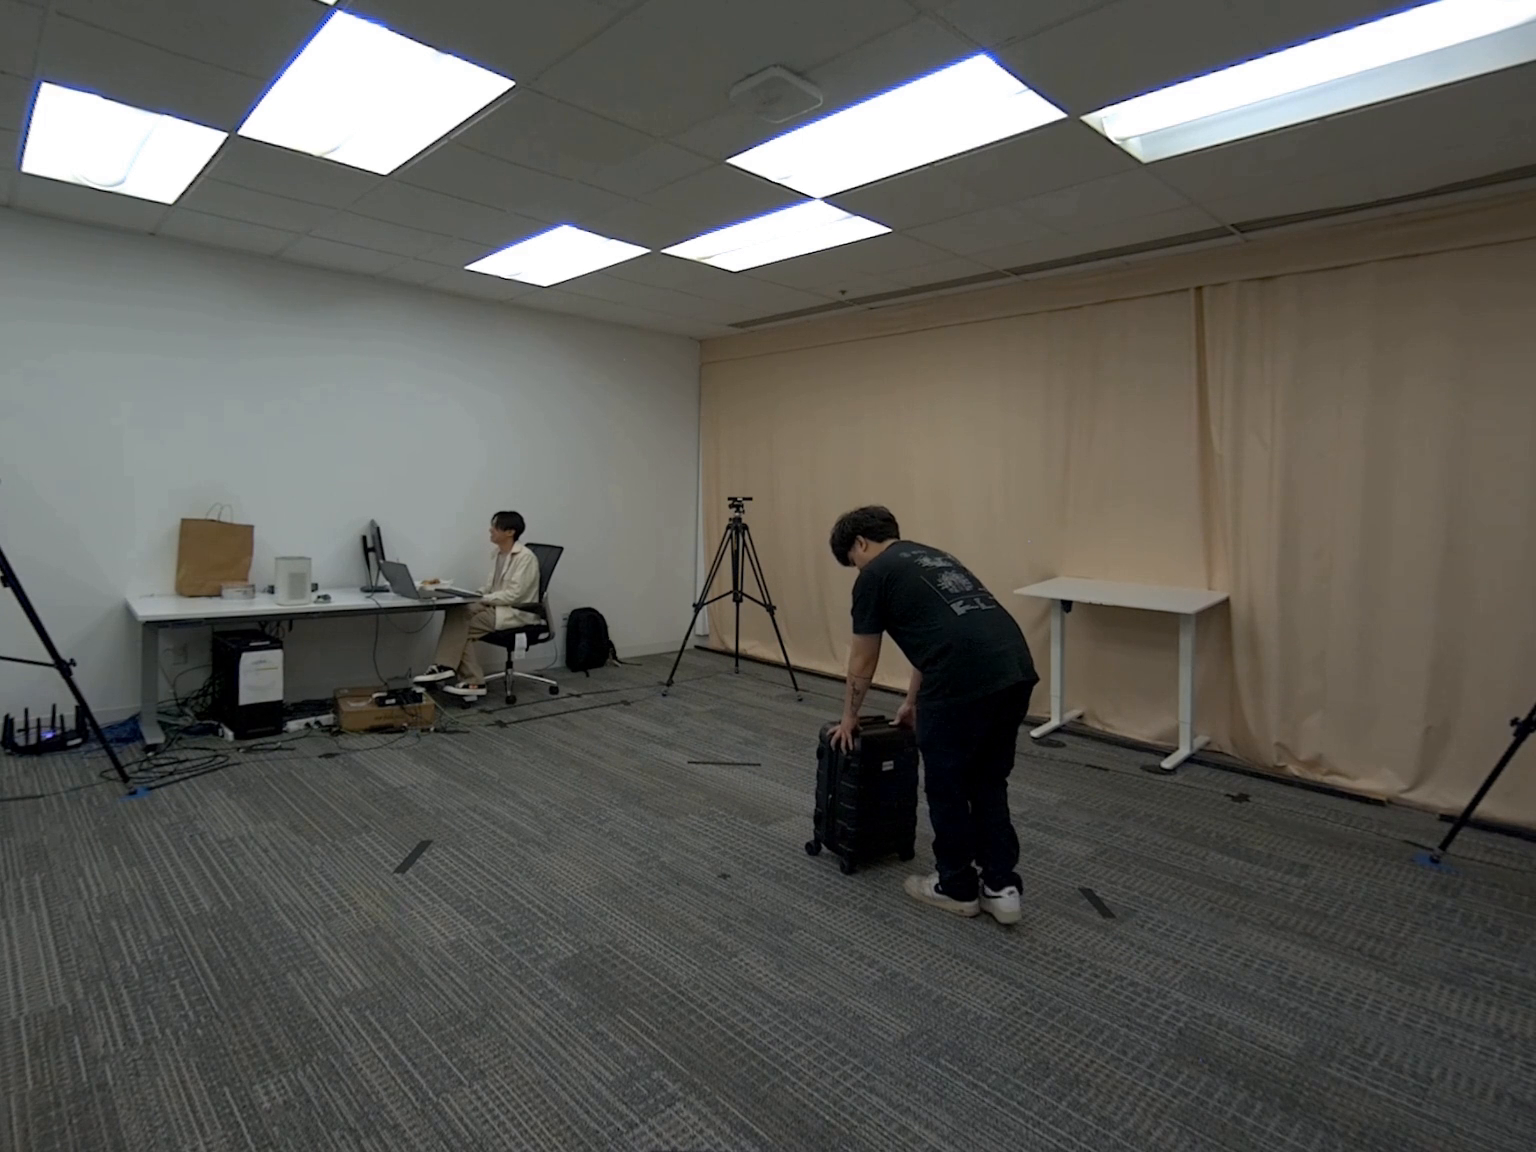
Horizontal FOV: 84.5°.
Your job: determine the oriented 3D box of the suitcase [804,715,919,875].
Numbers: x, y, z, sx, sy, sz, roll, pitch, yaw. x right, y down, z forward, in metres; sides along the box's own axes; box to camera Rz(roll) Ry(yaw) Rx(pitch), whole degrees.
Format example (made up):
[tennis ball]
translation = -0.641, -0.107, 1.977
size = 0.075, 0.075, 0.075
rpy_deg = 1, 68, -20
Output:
[suitcase]
translation = 0.377, 0.831, 3.276
size = 0.367, 0.547, 0.254
rpy_deg = 0, 6, -33
